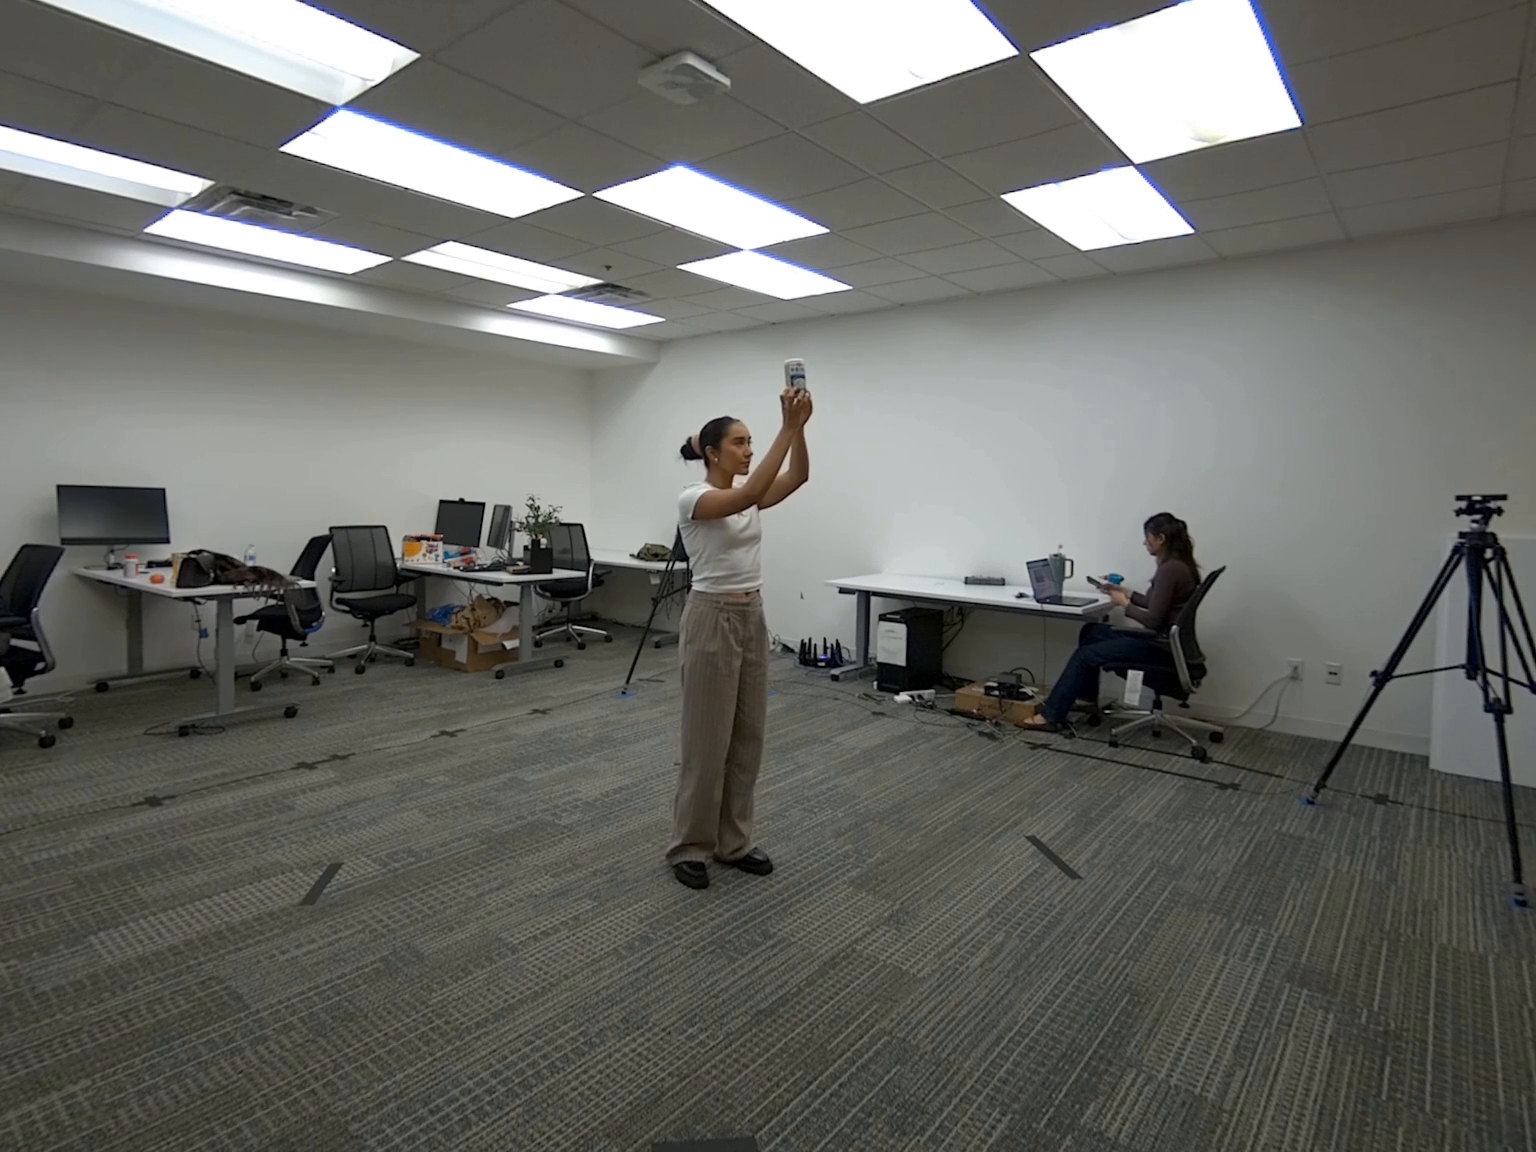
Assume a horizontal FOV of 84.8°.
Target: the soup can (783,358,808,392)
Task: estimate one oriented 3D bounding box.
[{"bbox_3d":[0.083,-0.651,2.788,0.067,0.121,0.067,-3,2,-2],"label":"soup can"}]
